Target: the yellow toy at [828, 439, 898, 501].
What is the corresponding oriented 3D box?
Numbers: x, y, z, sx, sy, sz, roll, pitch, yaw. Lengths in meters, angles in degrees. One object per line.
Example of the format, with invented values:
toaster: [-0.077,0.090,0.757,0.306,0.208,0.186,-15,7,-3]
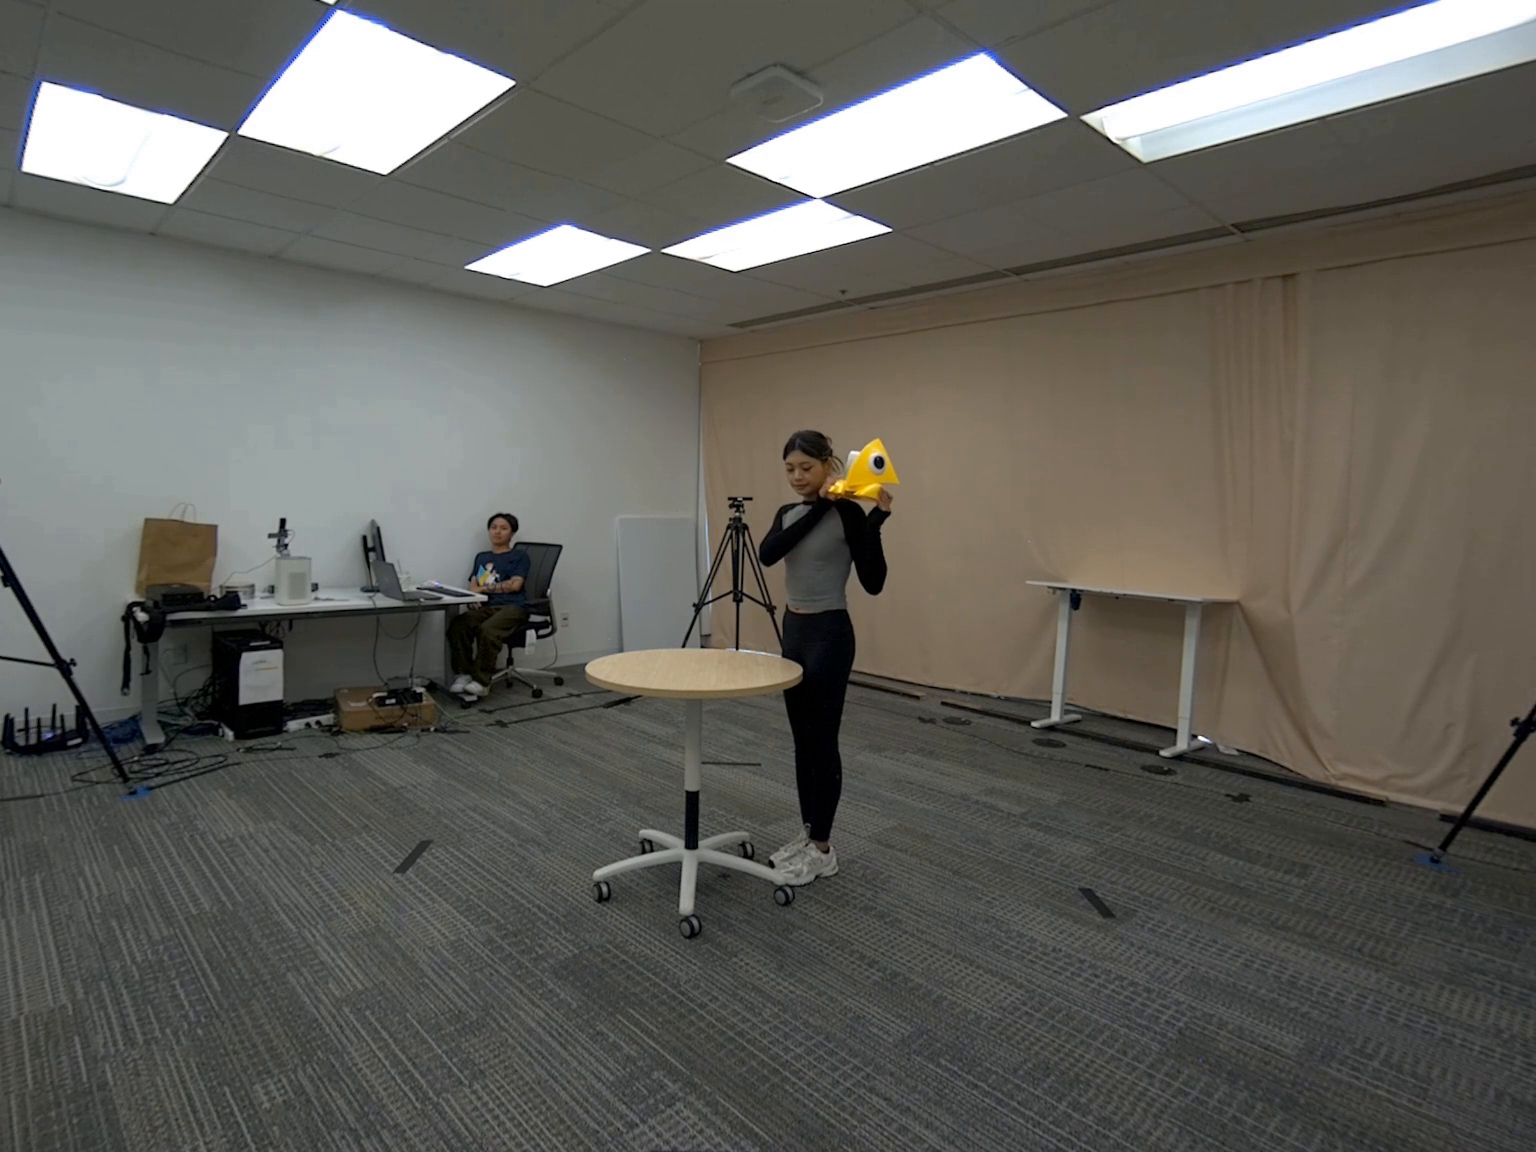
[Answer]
yellow toy: [0.339,-0.389,2.992,0.210,0.231,0.188,11,-1,38]
